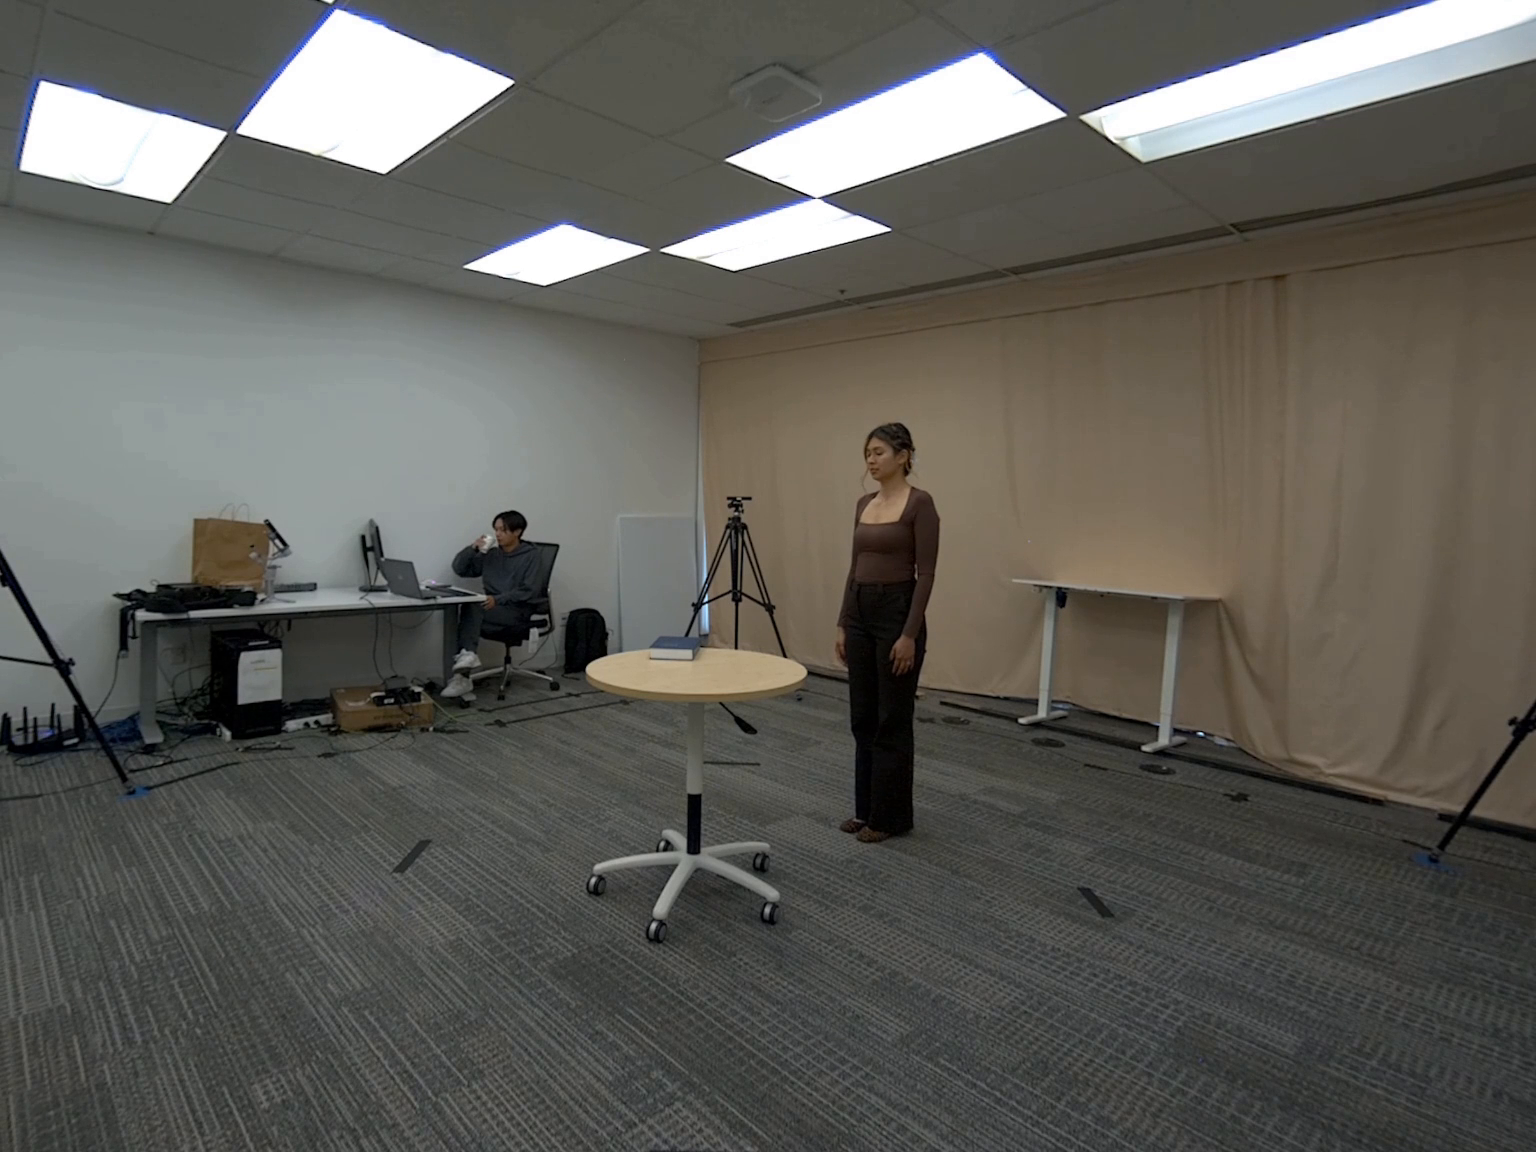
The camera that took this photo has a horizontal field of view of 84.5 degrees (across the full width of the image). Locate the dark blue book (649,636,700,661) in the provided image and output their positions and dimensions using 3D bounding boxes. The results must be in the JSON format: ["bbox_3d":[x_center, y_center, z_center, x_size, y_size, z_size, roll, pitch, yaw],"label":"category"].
[{"bbox_3d":[-0.358,0.275,3.174,0.164,0.045,0.245,1,5,2],"label":"dark blue book"}]
